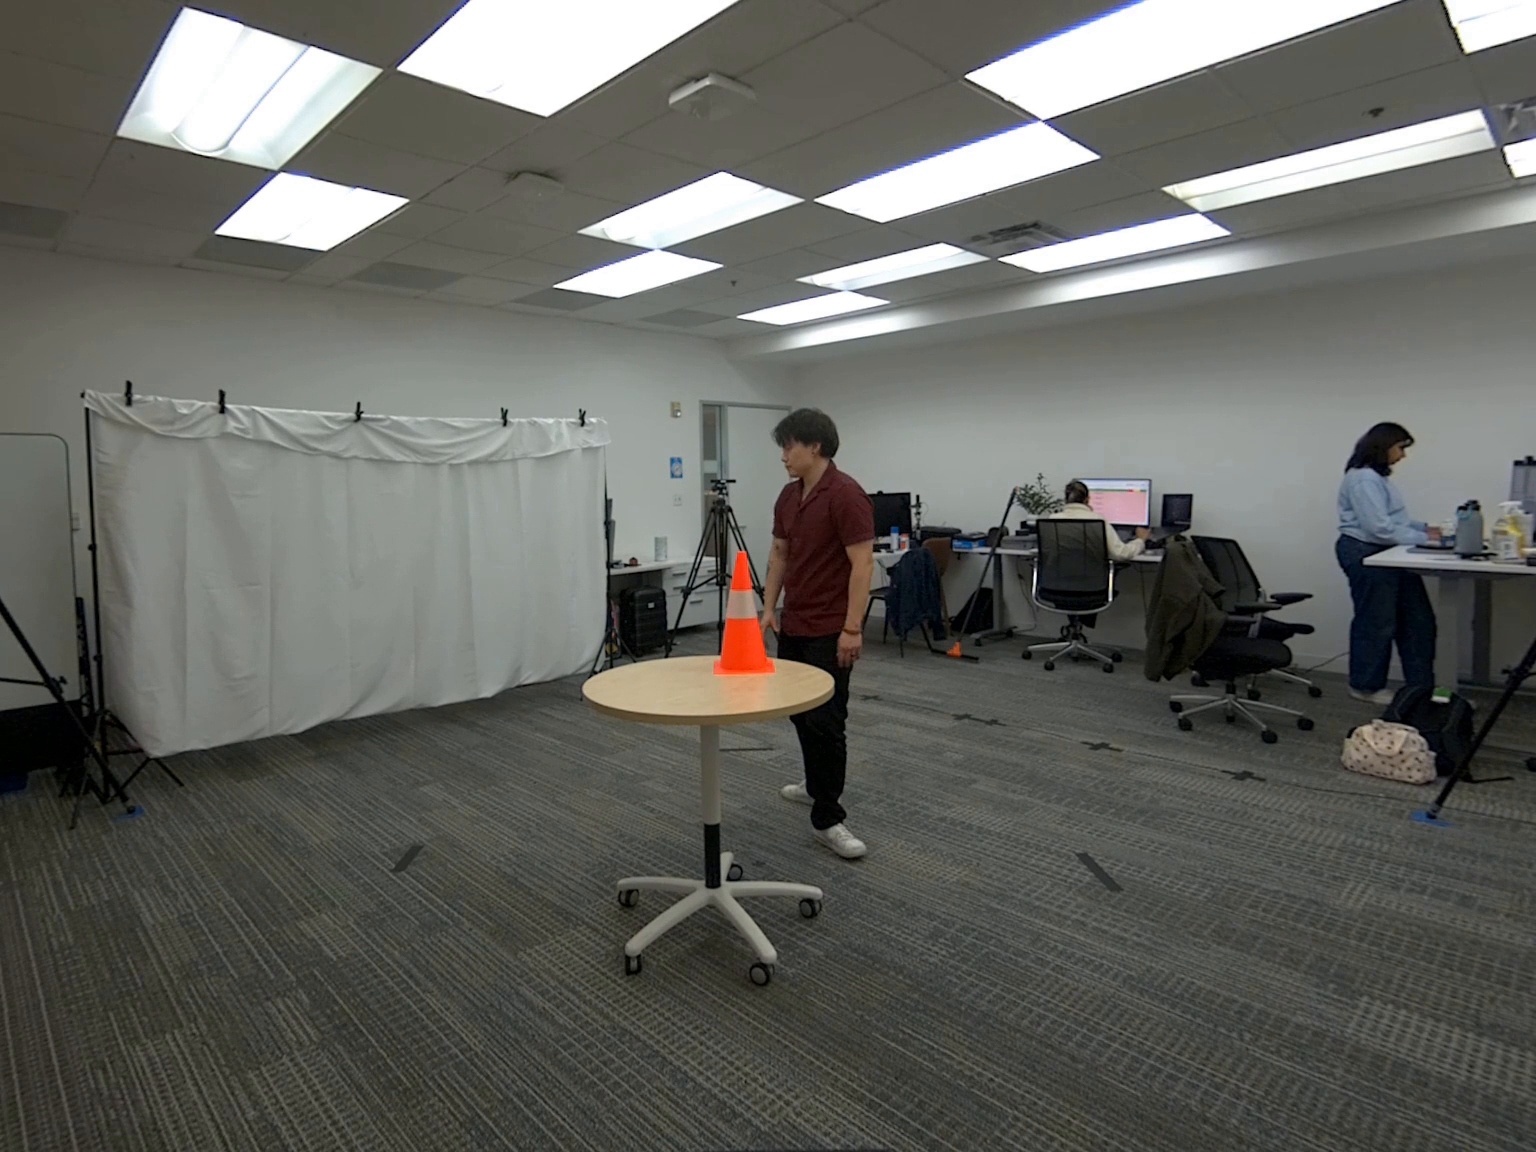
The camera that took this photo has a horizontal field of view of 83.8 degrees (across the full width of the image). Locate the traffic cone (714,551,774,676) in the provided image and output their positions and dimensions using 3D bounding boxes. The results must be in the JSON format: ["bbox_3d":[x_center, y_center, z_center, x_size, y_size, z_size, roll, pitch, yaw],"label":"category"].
[{"bbox_3d":[-0.080,0.109,2.803,0.202,0.384,0.207,0,0,-9],"label":"traffic cone"}]
